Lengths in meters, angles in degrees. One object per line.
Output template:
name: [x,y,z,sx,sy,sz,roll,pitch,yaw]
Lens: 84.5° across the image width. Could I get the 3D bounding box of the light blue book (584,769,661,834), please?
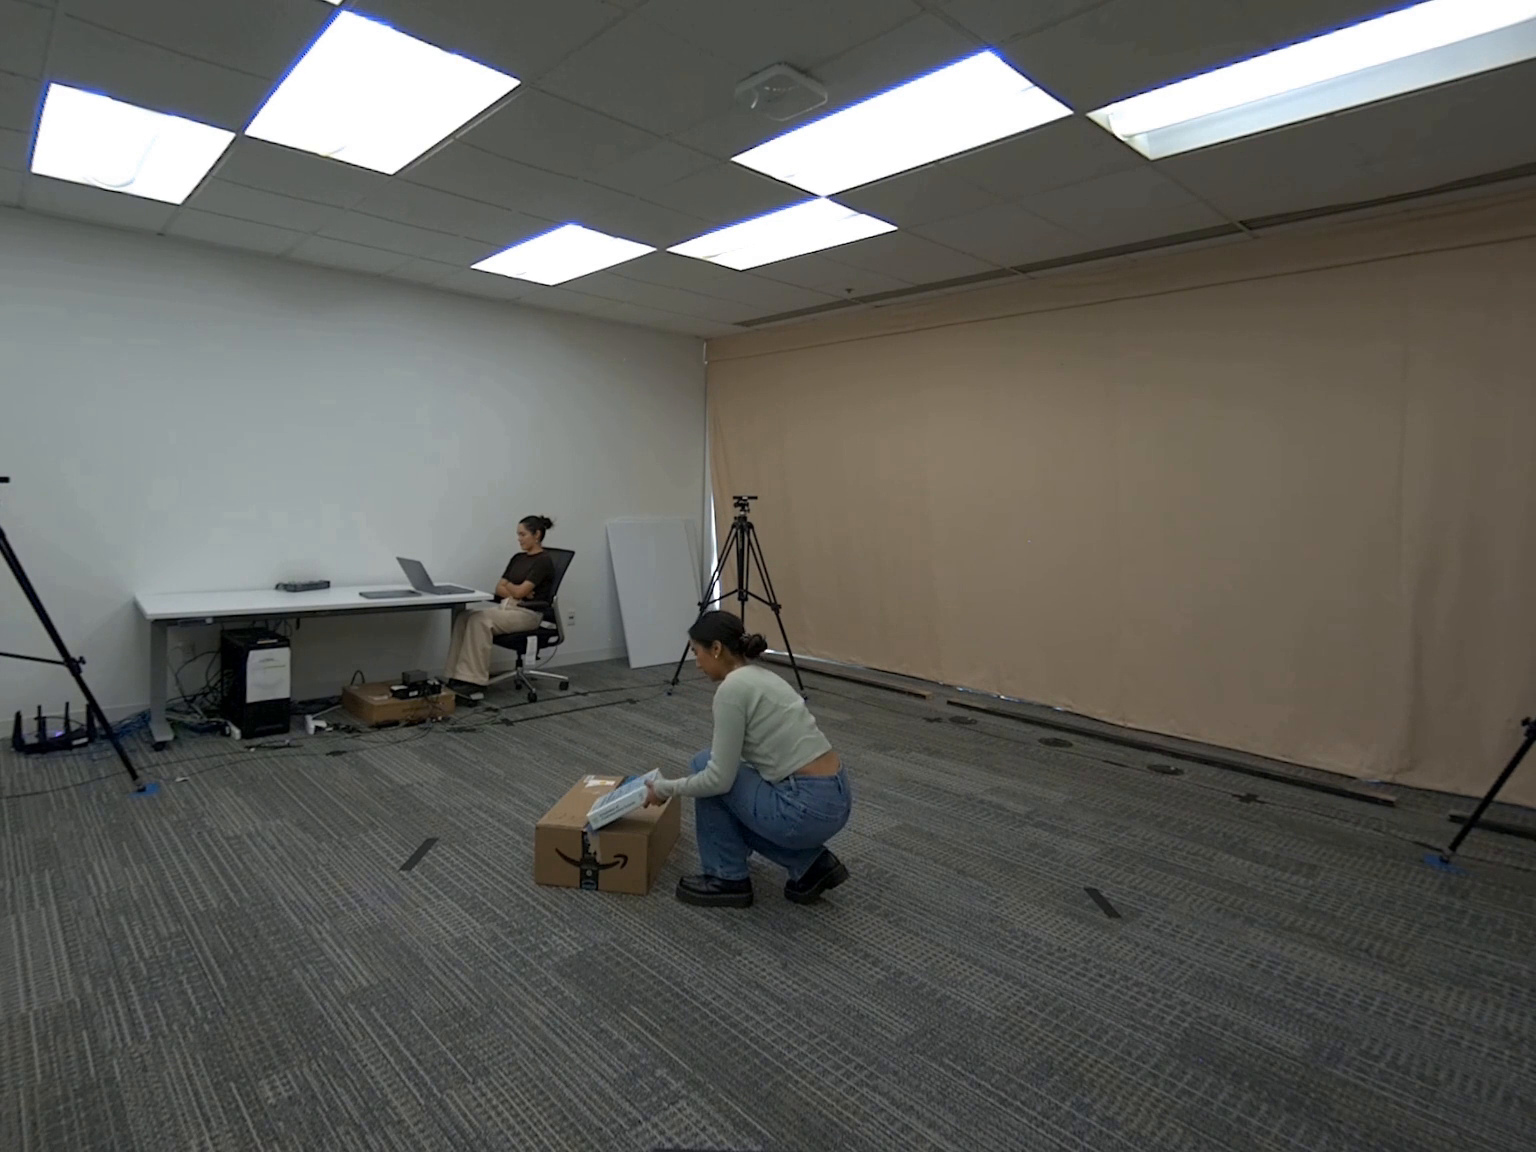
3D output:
light blue book: [-0.506,0.789,3.009,0.261,0.059,0.191,-28,2,2]
